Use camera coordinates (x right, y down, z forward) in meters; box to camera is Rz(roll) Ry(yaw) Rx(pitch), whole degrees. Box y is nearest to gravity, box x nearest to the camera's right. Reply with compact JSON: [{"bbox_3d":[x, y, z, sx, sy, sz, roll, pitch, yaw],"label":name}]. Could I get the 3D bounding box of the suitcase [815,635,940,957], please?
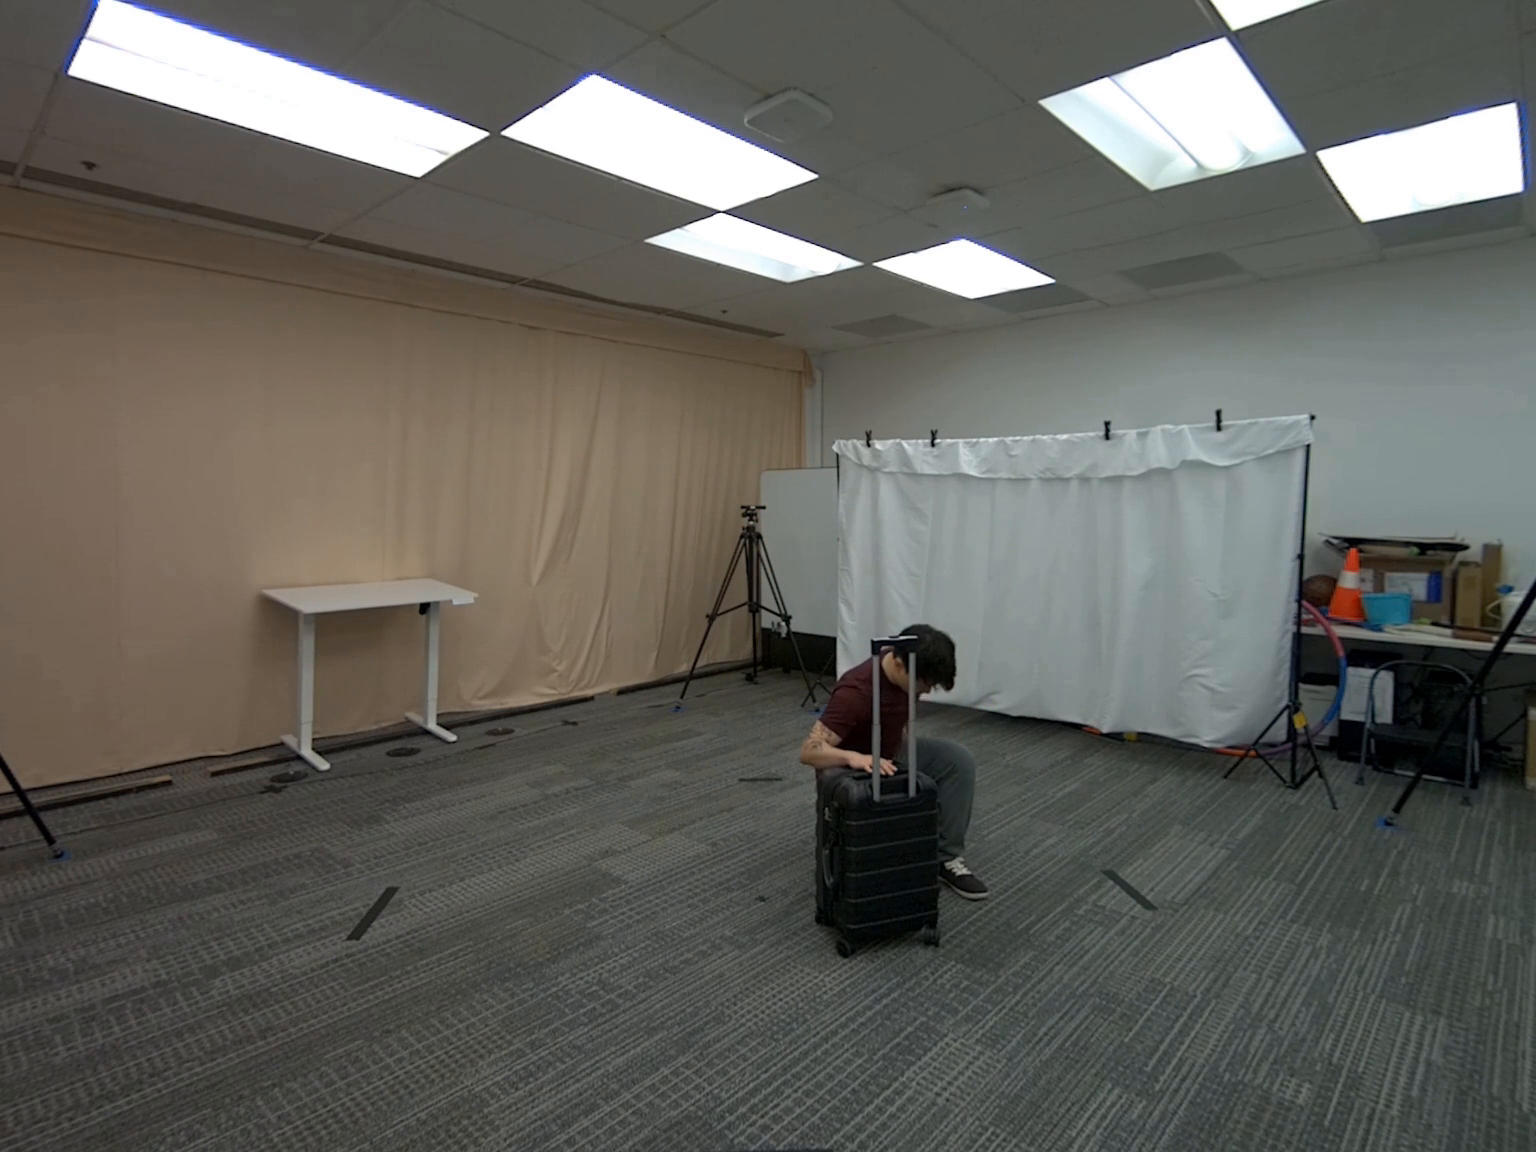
[{"bbox_3d":[0.350,0.685,2.720,0.377,0.977,0.262,0,2,-17],"label":"suitcase"}]
